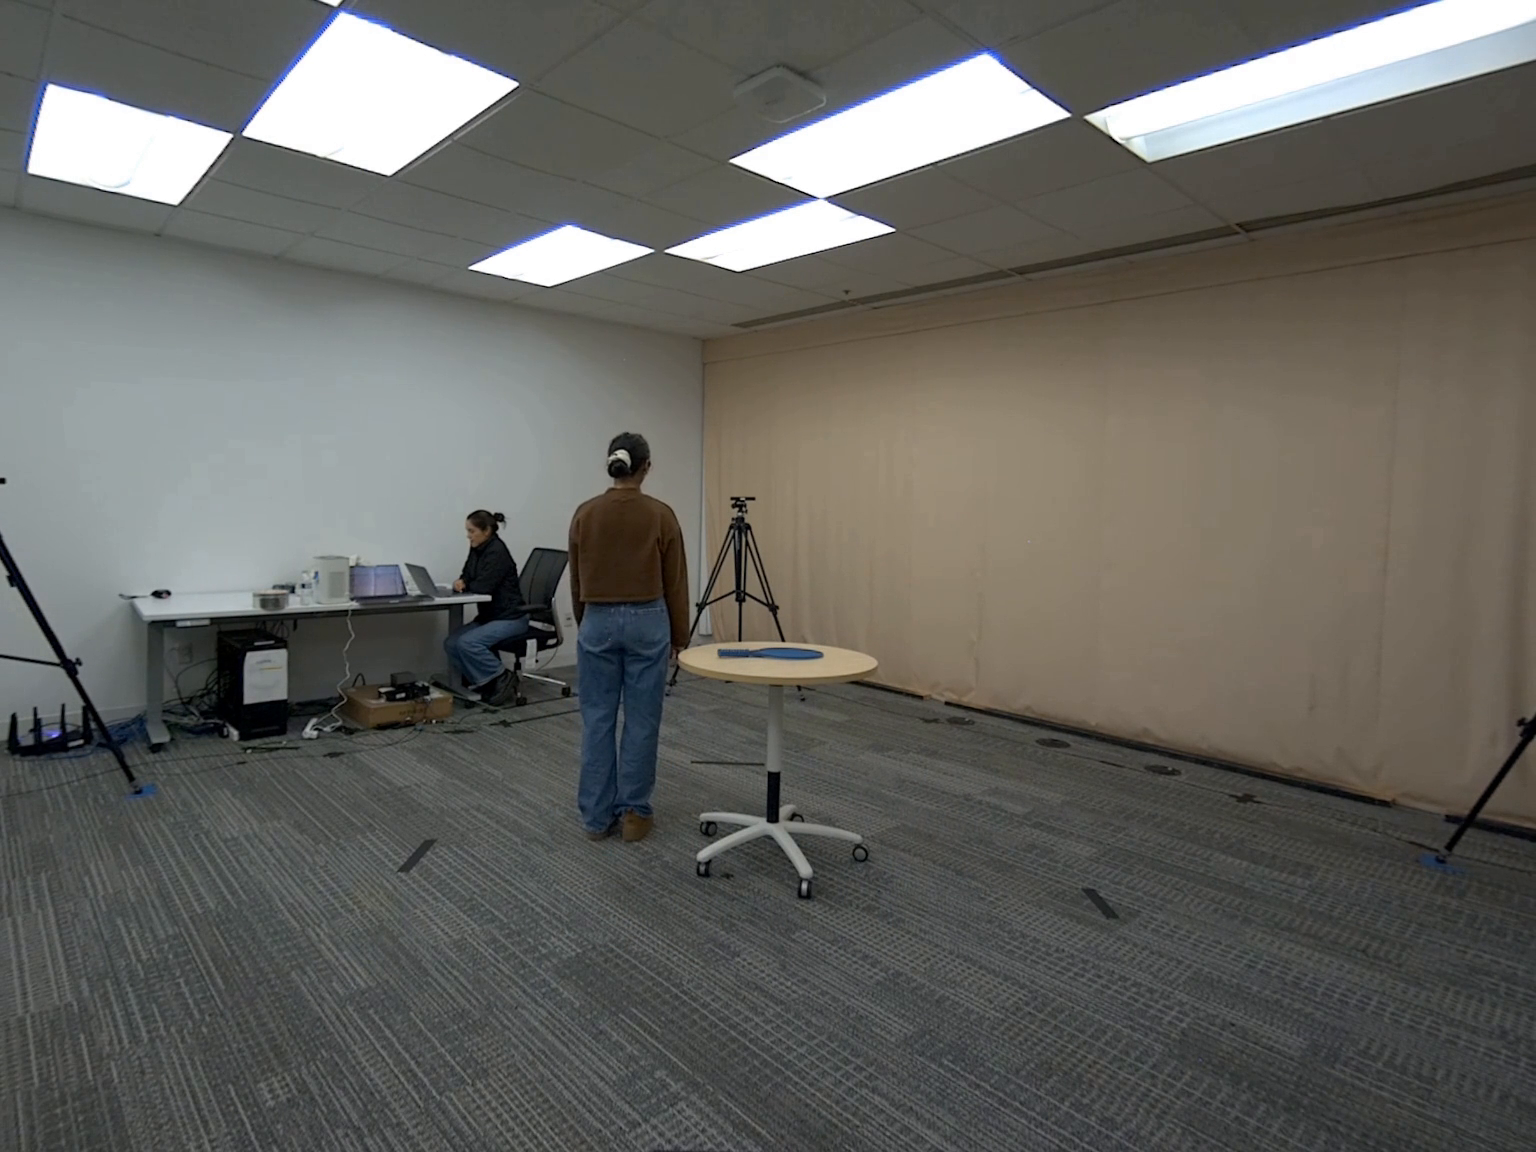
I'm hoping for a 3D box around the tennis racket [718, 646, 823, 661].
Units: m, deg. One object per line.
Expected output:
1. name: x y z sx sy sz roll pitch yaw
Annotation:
1. tennis racket: 0.000 0.303 3.294 0.427 0.031 0.217 1 5 -18
